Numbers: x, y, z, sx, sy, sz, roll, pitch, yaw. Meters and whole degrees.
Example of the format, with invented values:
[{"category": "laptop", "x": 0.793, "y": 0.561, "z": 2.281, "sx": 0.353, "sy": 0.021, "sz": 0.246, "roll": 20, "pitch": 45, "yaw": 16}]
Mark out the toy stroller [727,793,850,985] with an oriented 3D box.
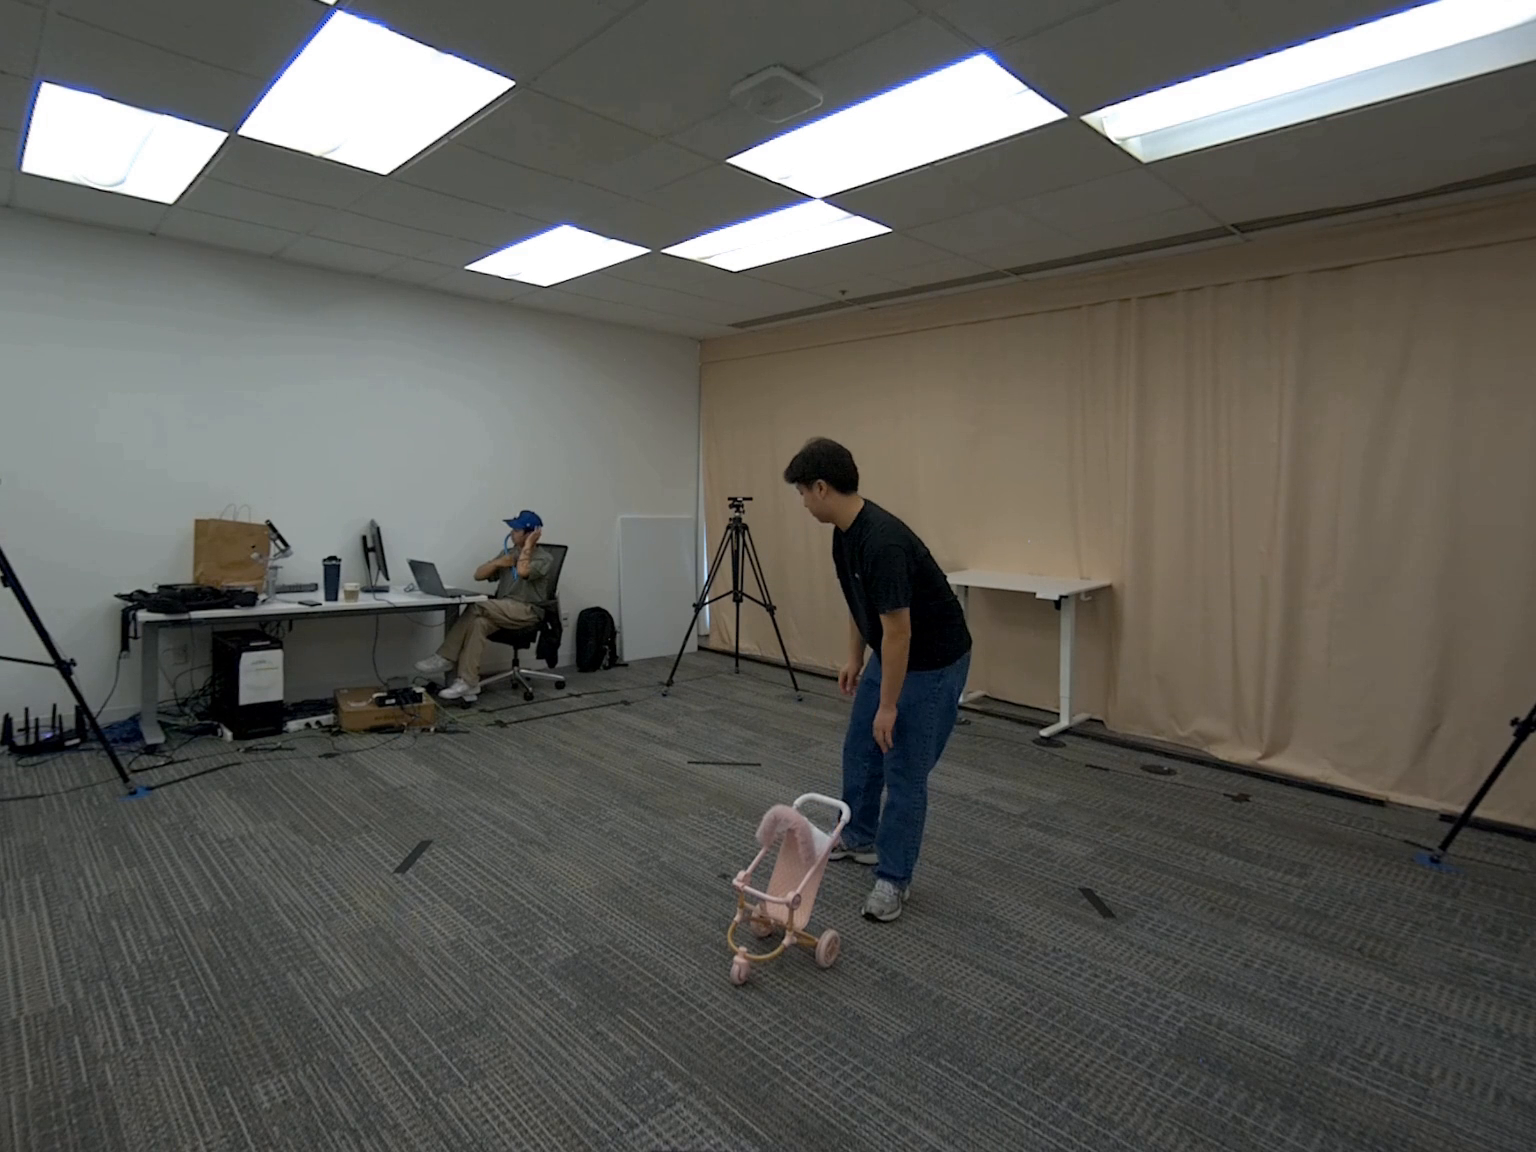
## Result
[{"category": "toy stroller", "x": 0.038, "y": 0.936, "z": 2.540, "sx": 0.288, "sy": 0.537, "sz": 0.331, "roll": 5, "pitch": -10, "yaw": 45}]
